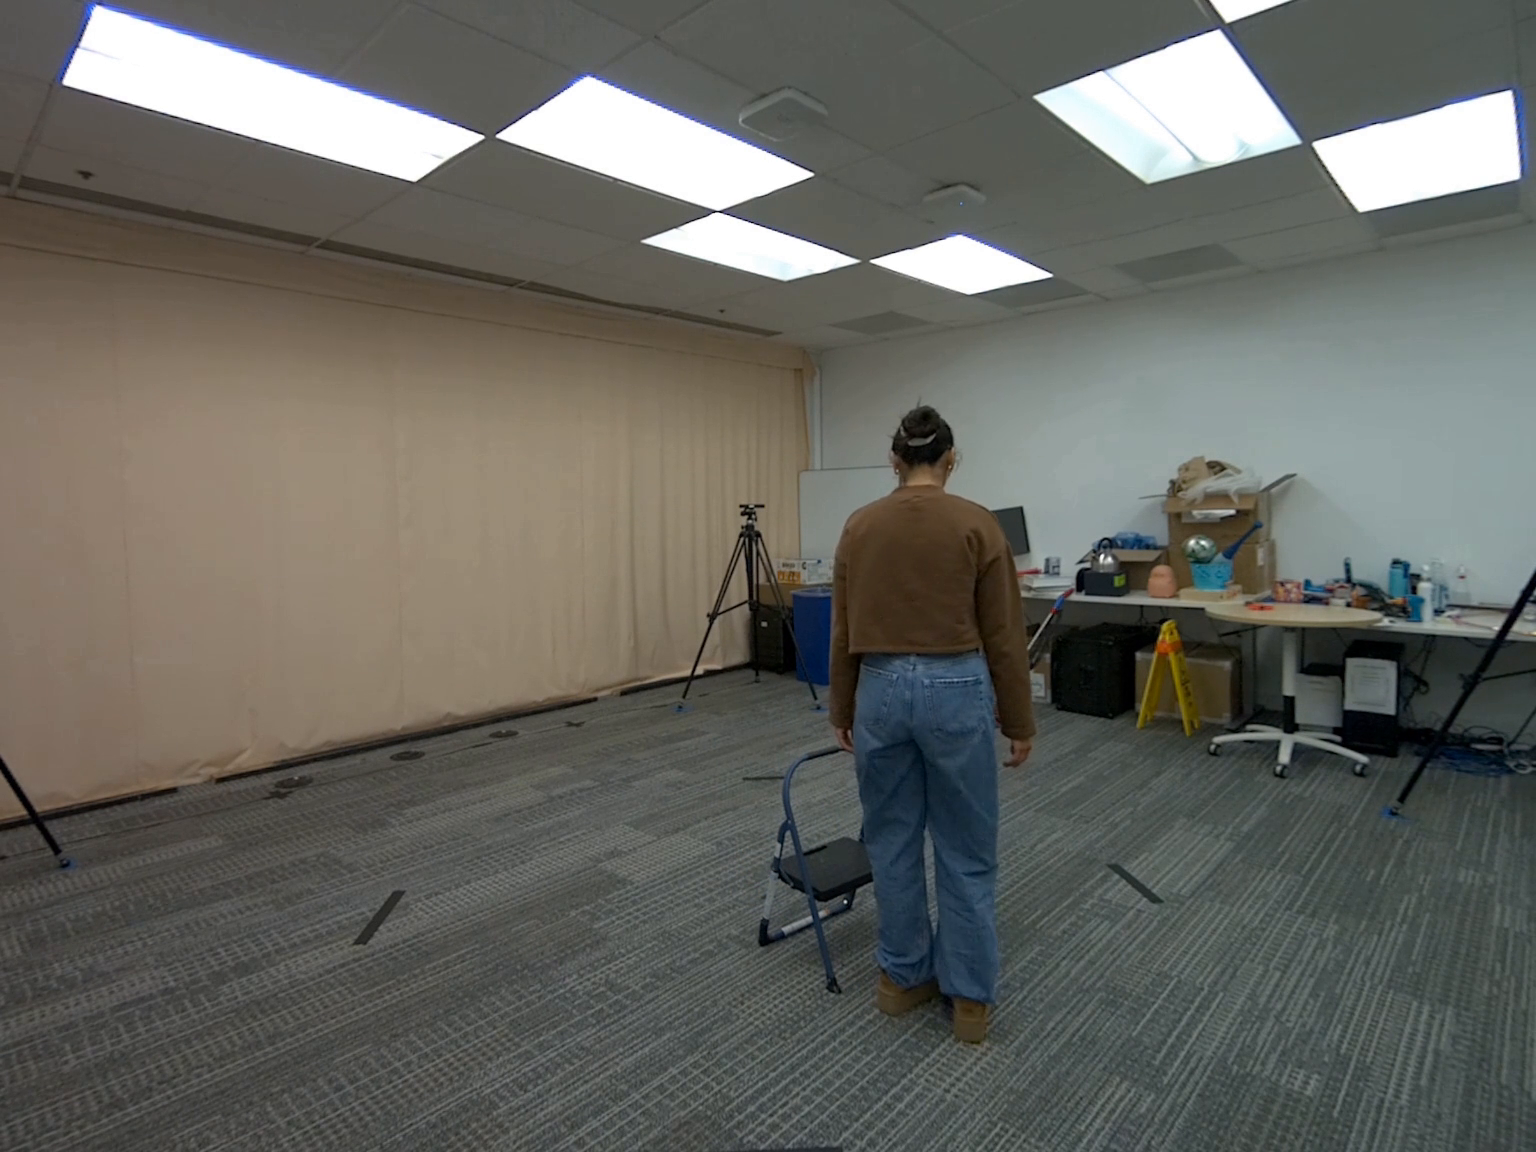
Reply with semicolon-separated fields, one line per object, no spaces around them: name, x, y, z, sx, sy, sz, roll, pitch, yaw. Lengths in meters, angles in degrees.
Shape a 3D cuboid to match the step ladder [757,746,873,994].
step ladder;0.235;0.863;2.637;0.418;0.605;0.361;-4;5;-40
